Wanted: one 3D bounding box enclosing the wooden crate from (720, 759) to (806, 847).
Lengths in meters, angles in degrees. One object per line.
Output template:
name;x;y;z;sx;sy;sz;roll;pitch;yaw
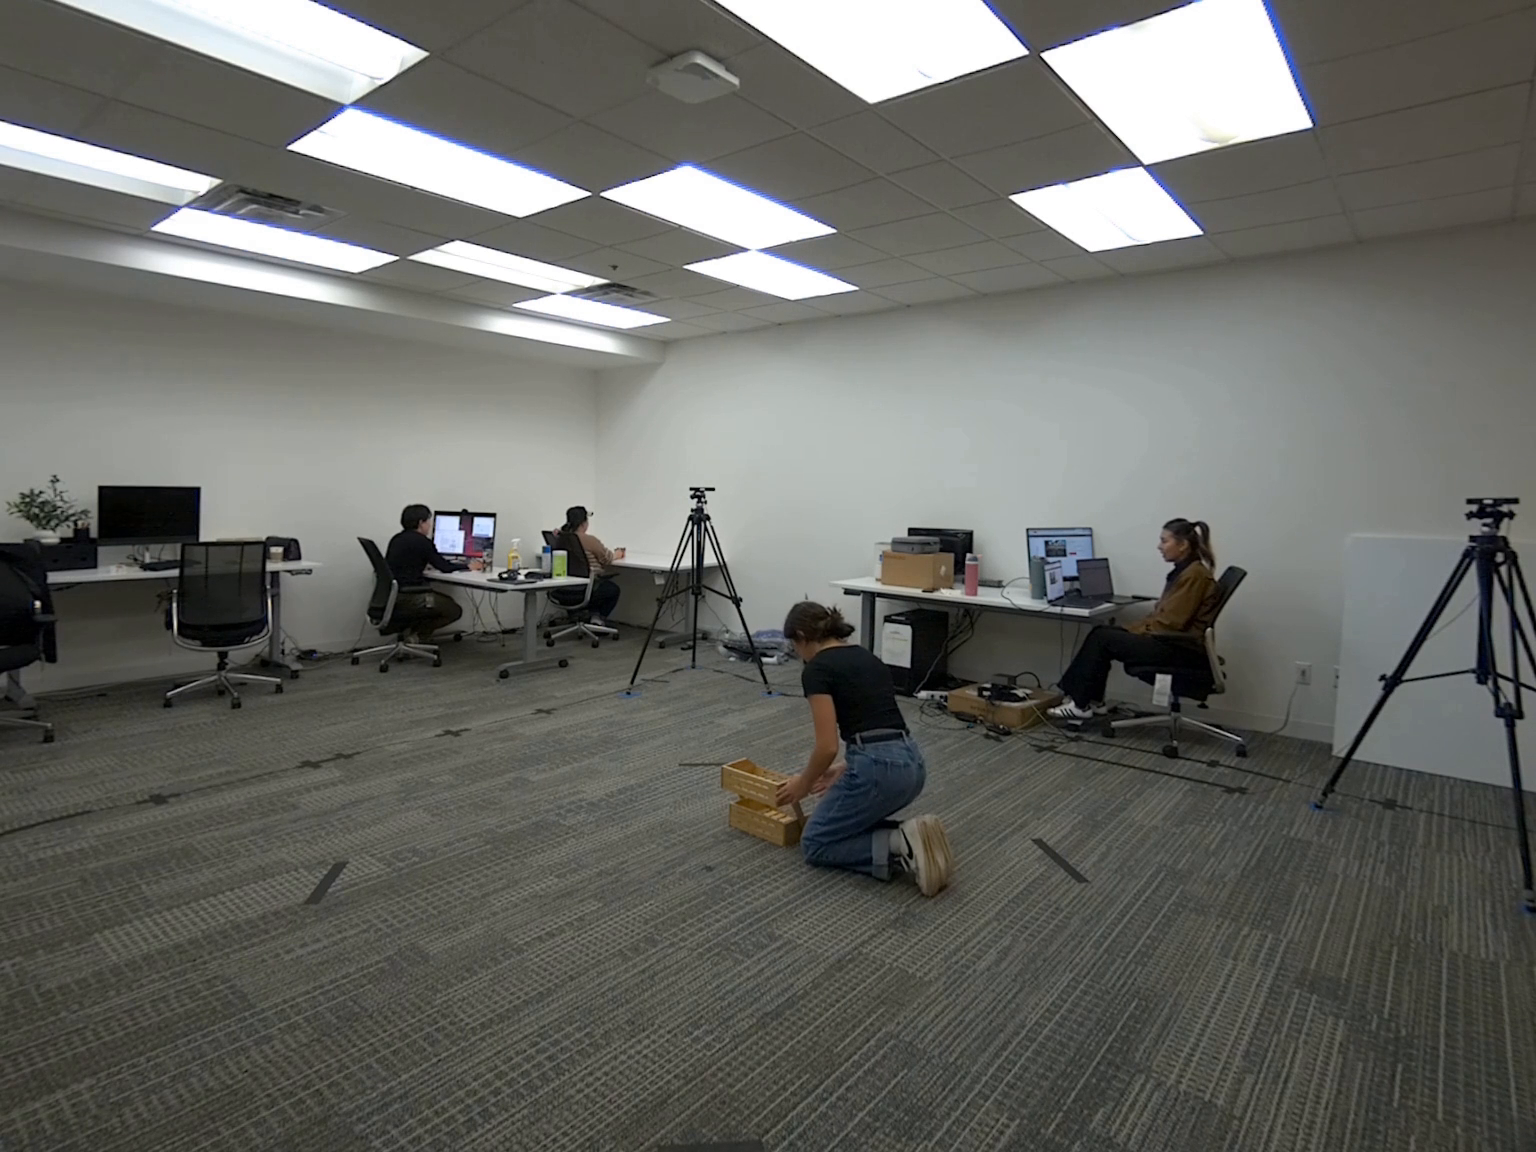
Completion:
wooden crate;0.008;0.902;3.481;0.335;0.272;0.293;5;7;42
